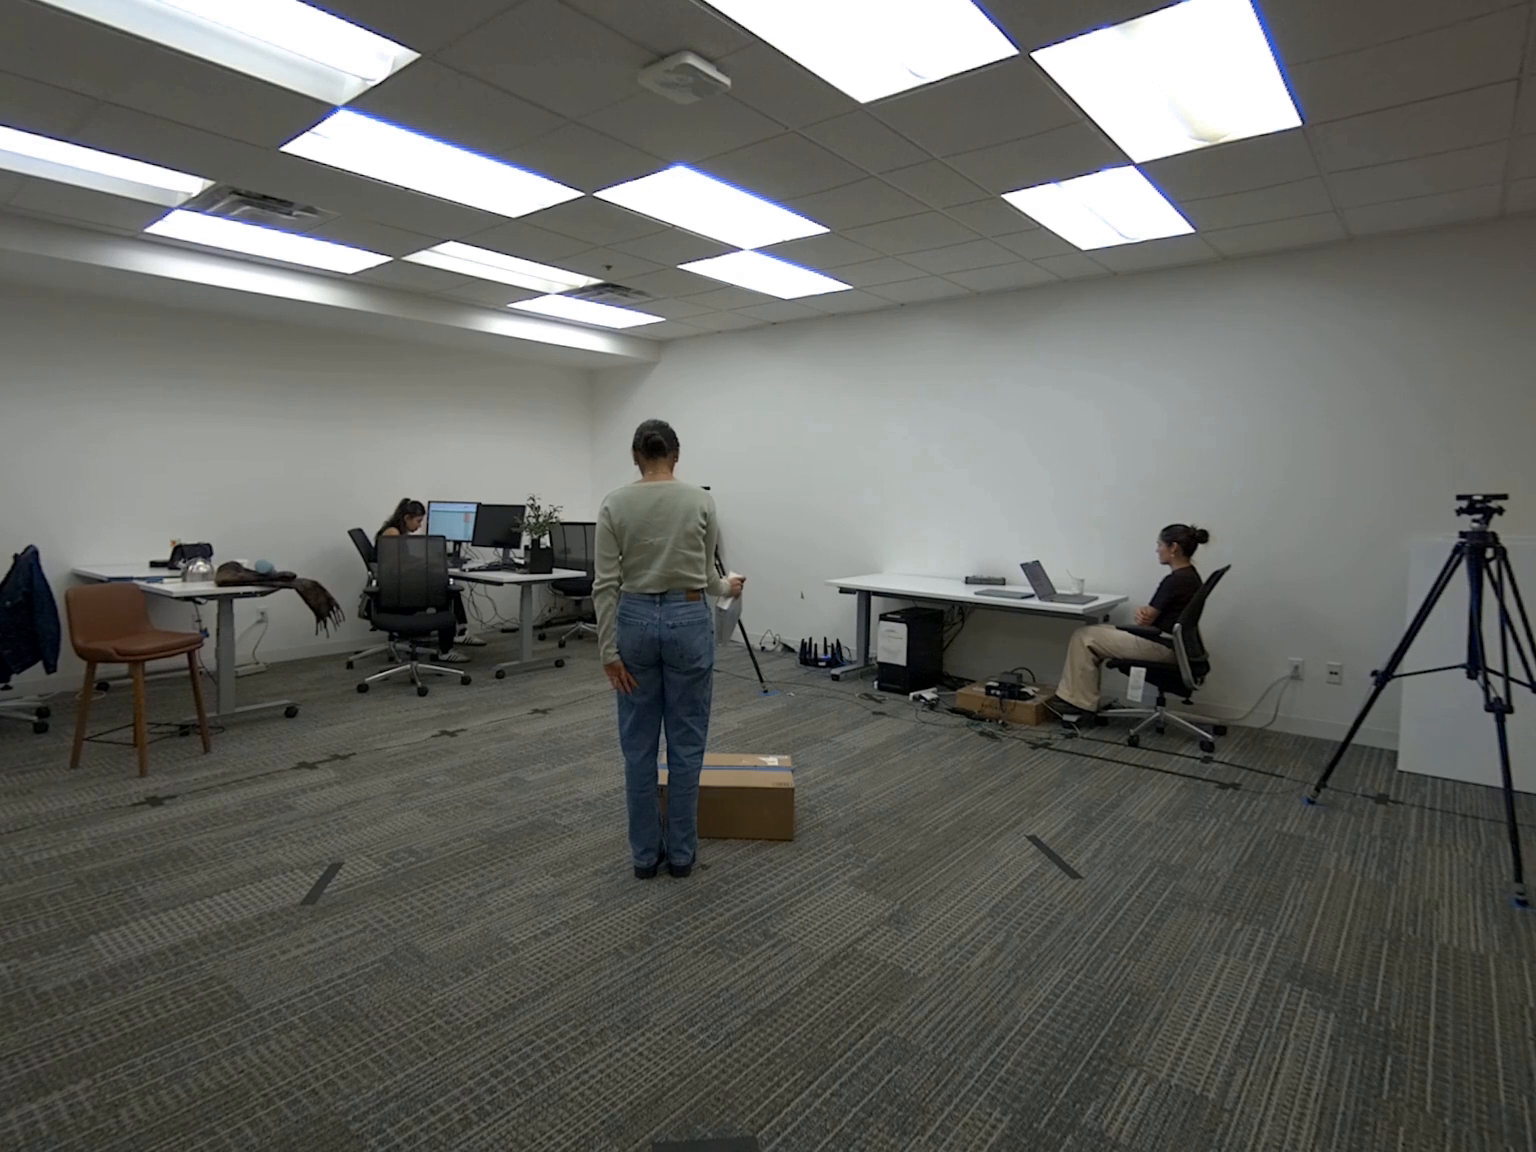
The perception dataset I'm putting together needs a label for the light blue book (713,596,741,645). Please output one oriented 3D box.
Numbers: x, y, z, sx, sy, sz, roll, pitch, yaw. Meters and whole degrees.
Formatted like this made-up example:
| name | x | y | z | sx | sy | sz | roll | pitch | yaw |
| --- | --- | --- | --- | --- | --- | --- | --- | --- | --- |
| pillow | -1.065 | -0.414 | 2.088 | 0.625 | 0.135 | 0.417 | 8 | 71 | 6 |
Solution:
| name | x | y | z | sx | sy | sz | roll | pitch | yaw |
| --- | --- | --- | --- | --- | --- | --- | --- | --- | --- |
| light blue book | -0.171 | 0.131 | 3.488 | 0.060 | 0.194 | 0.254 | 16 | -39 | 9 |
